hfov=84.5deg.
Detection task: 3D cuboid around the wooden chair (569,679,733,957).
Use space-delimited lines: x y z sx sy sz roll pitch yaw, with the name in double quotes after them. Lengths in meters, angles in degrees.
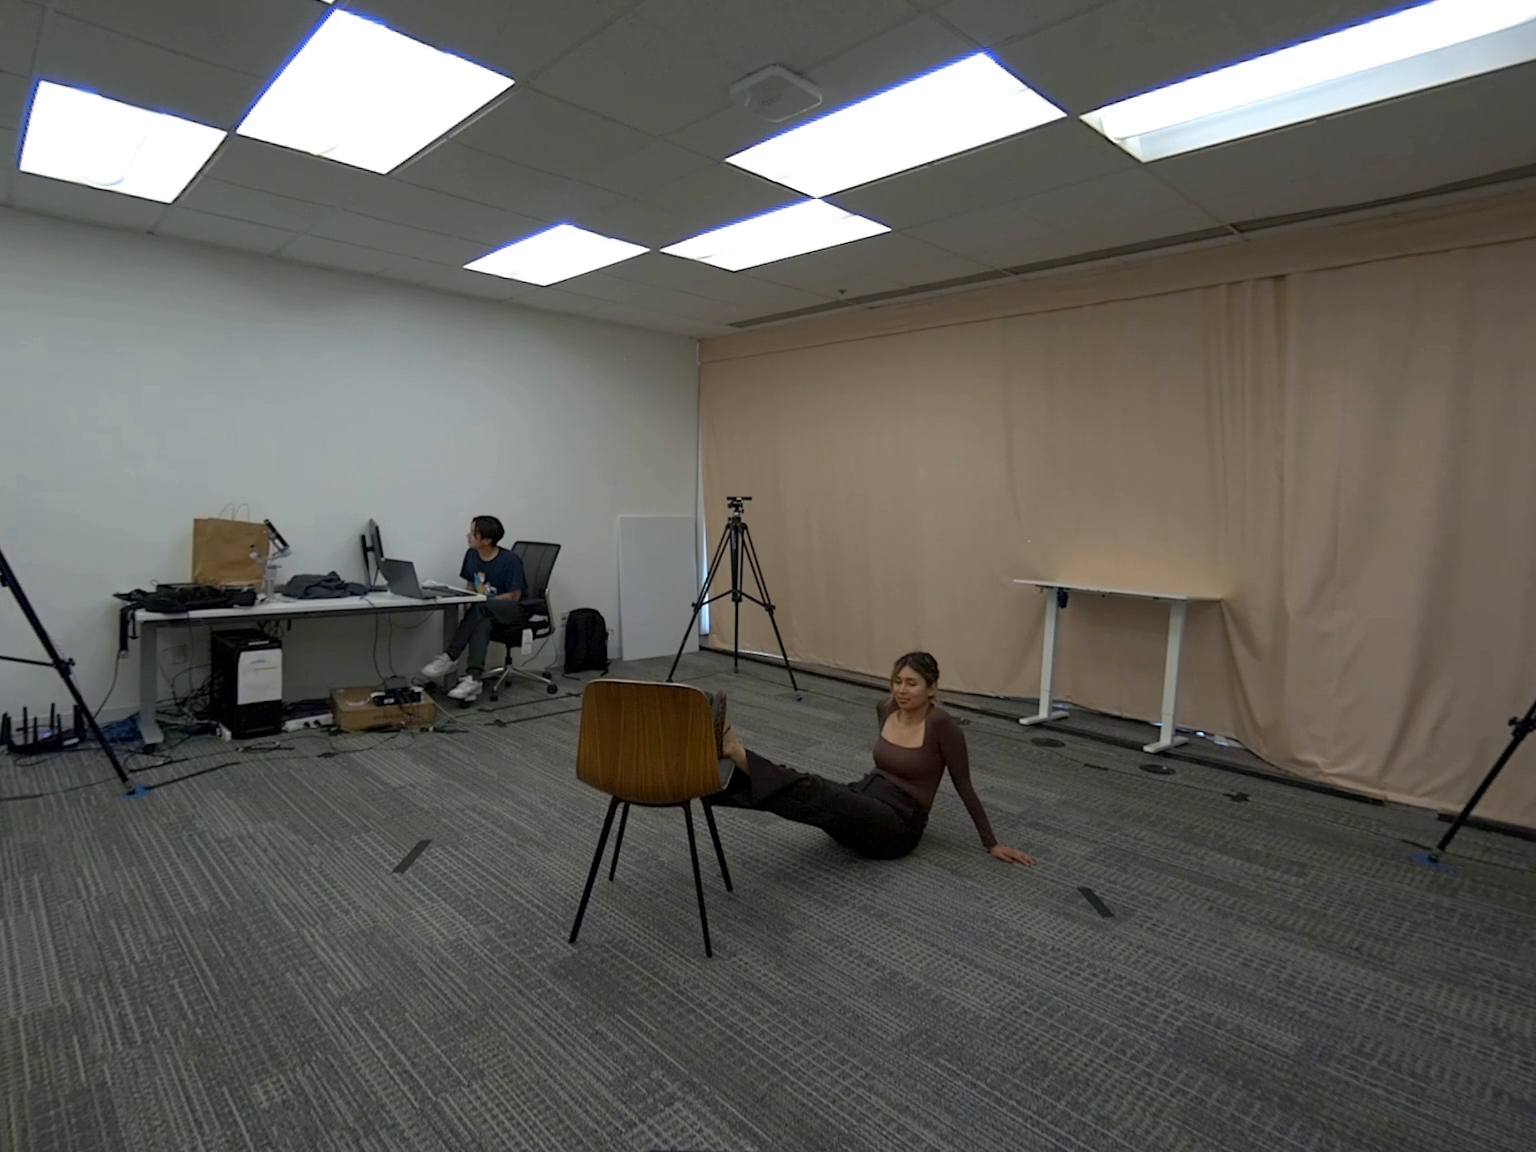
-0.365 0.706 2.770 0.481 0.873 0.522 2 7 7 "wooden chair"
